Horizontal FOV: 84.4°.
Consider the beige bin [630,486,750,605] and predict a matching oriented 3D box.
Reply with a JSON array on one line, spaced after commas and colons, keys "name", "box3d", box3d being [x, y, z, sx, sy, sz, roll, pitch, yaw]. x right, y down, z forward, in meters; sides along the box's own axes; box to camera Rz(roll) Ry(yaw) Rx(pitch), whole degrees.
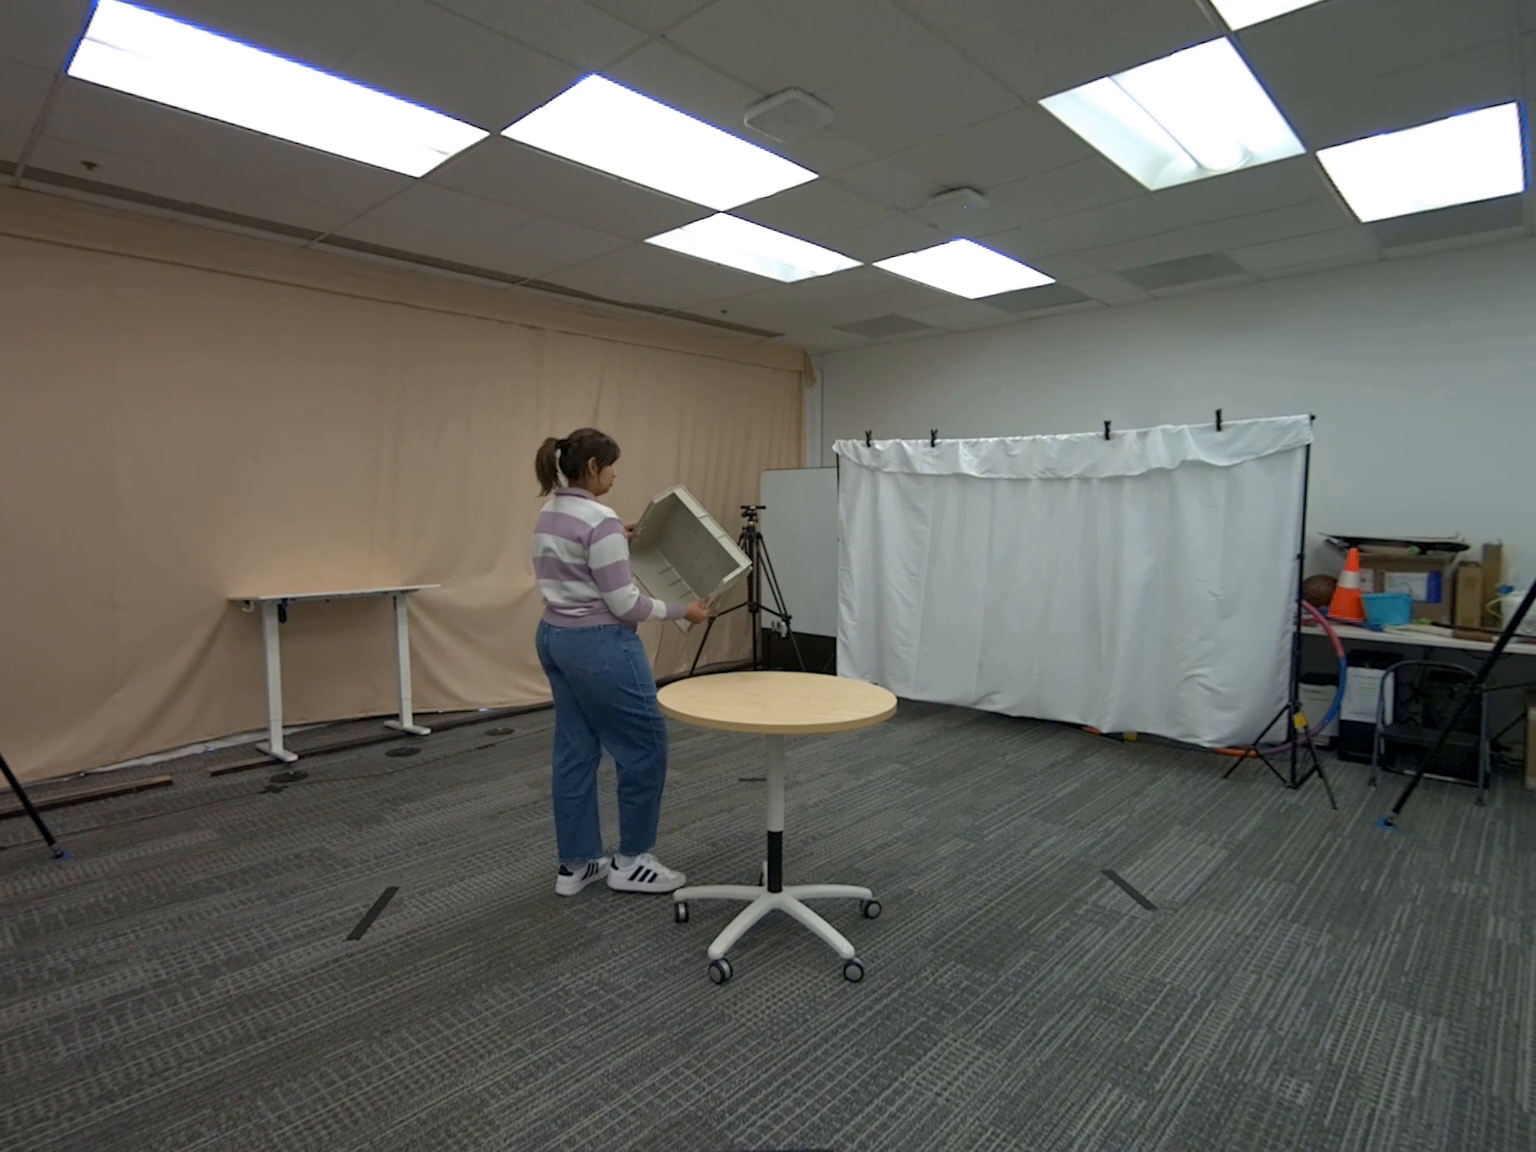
[{"name": "beige bin", "box3d": [-0.297, -0.066, 3.184, 0.185, 0.429, 0.379, -28, -19, -46]}]
